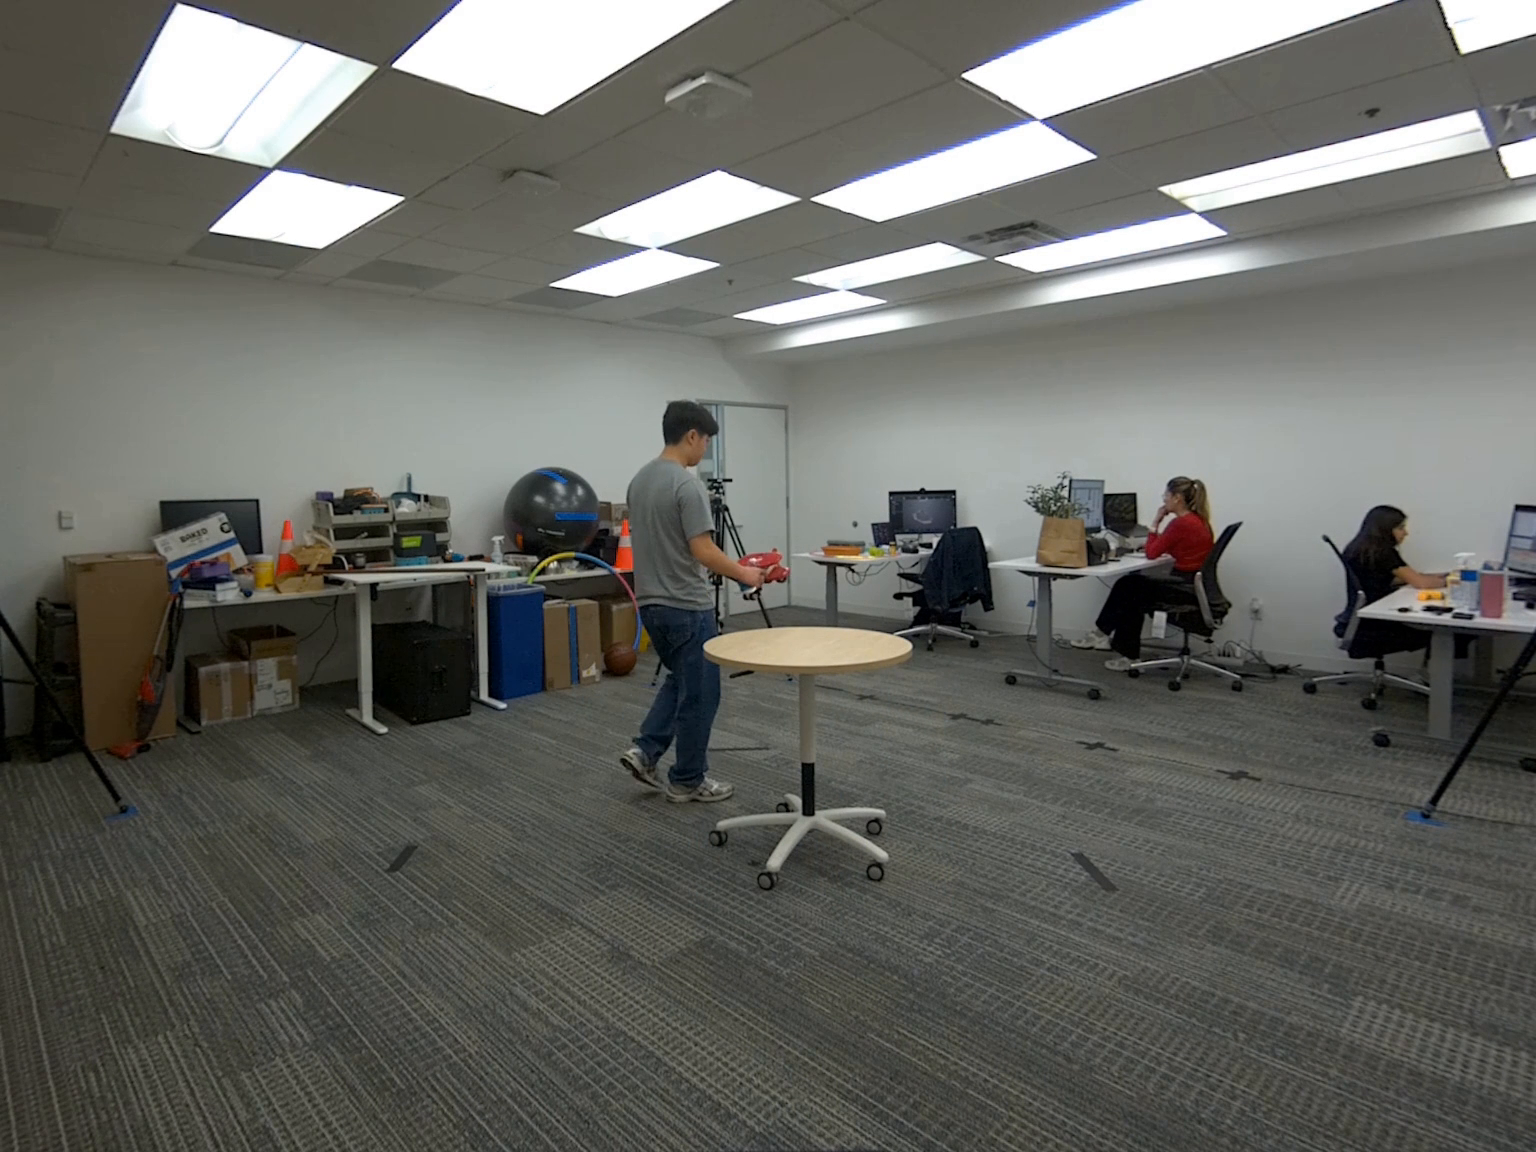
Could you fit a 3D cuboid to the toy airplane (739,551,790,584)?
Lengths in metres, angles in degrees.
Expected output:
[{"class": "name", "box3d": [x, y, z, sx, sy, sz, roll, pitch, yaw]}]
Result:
[{"class": "toy airplane", "box3d": [-0.035, -0.011, 3.743, 0.254, 0.154, 0.260, -13, 18, 18]}]
